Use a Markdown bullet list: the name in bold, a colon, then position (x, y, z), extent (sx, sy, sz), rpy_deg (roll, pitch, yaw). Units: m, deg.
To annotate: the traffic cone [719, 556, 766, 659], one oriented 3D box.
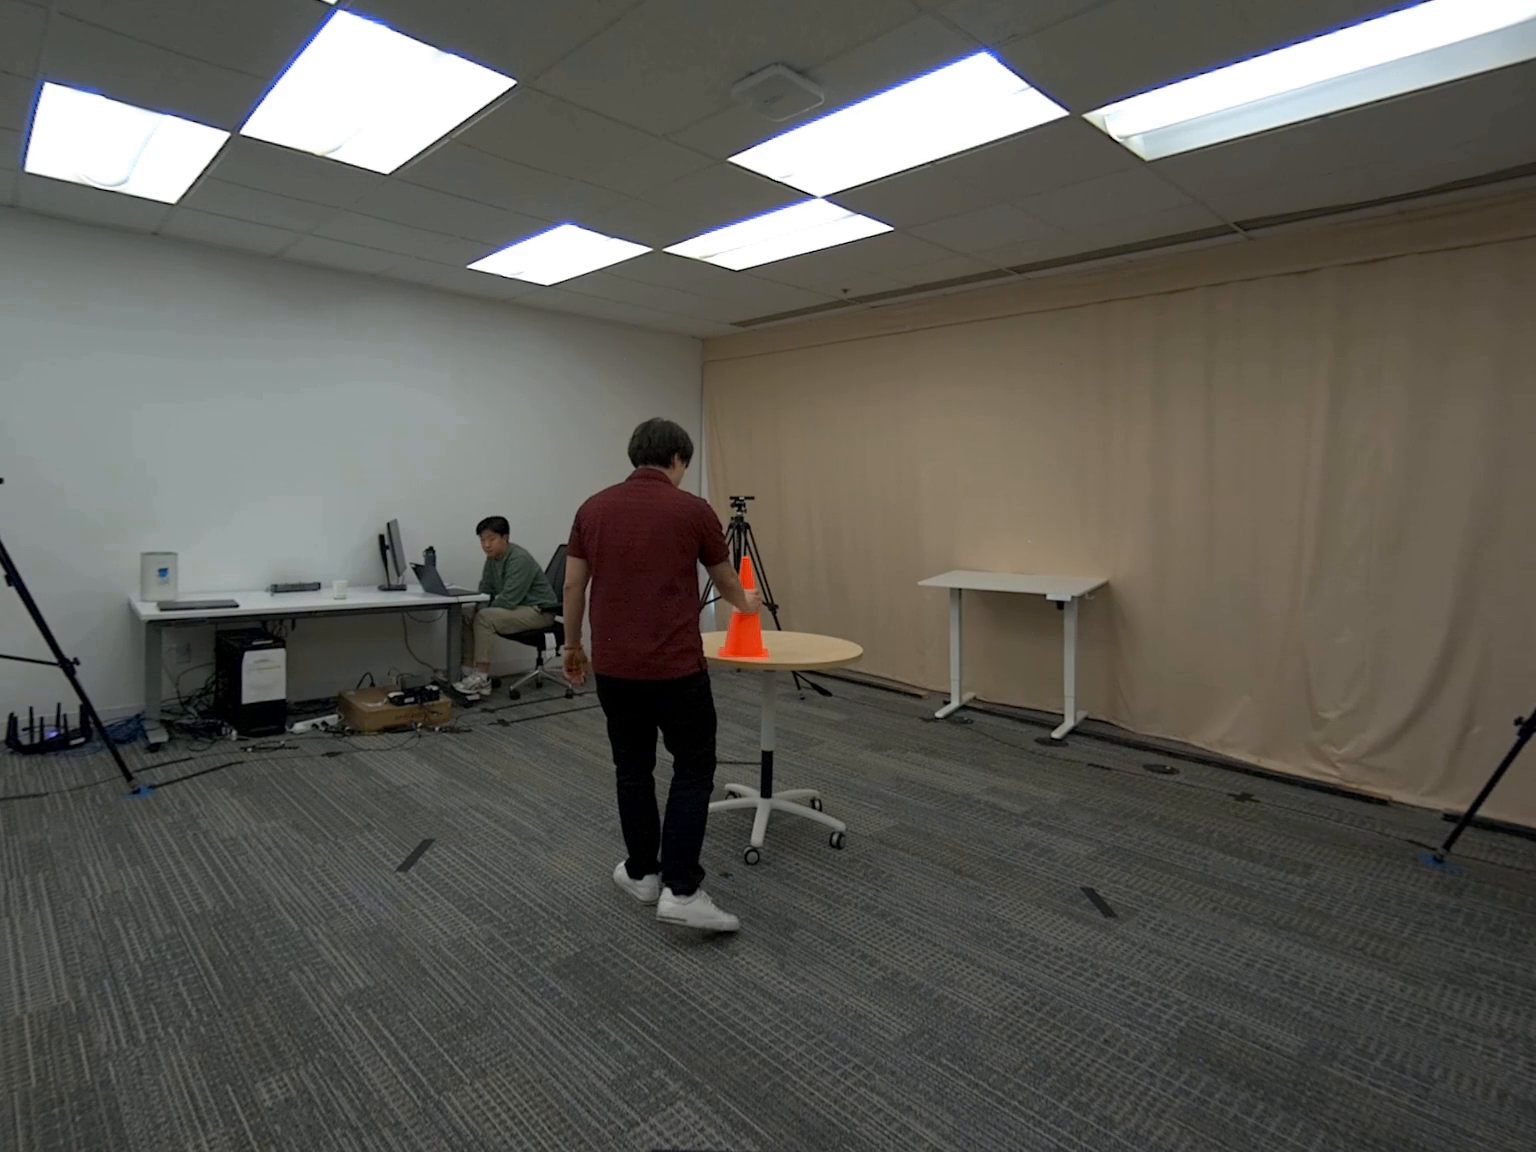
- **traffic cone**: position (-0.099, 0.119, 3.312), extent (0.203, 0.382, 0.206), rpy_deg (0, 4, -2)
